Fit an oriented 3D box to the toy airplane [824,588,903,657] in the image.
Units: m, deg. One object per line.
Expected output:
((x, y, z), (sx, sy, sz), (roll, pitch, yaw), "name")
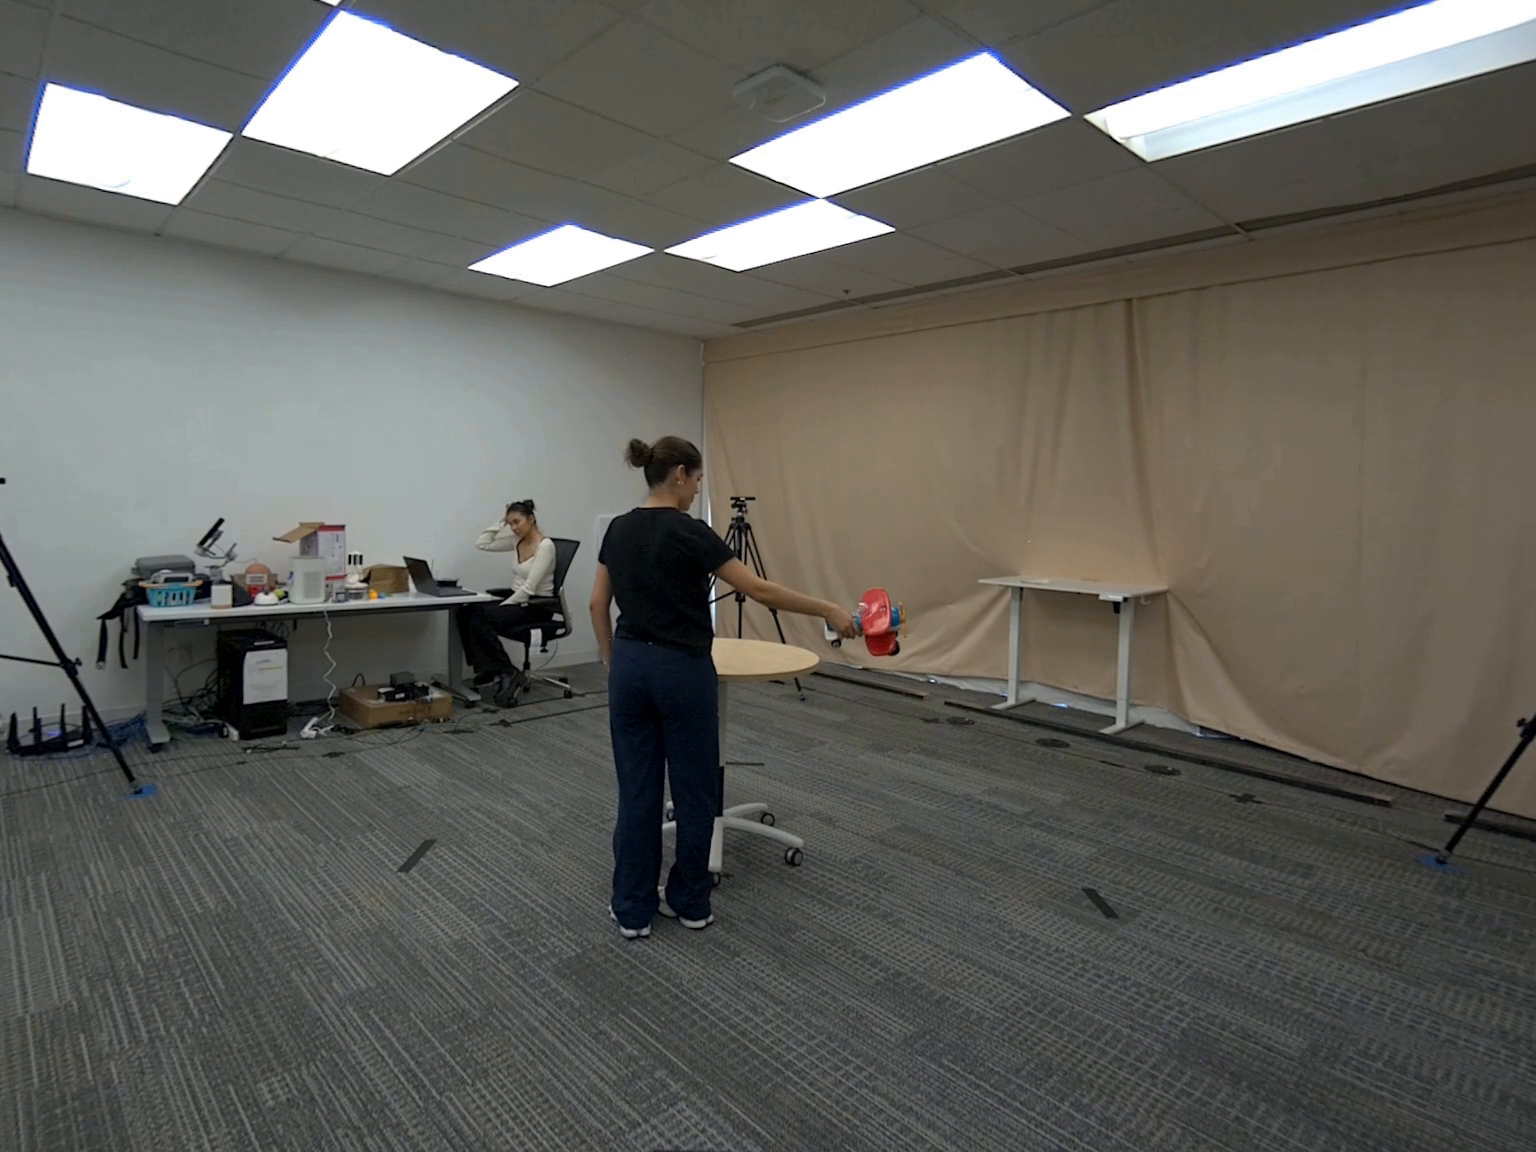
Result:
((0.309, 0.169, 2.708), (0.256, 0.153, 0.259), (-12, 33, -19), "toy airplane")
